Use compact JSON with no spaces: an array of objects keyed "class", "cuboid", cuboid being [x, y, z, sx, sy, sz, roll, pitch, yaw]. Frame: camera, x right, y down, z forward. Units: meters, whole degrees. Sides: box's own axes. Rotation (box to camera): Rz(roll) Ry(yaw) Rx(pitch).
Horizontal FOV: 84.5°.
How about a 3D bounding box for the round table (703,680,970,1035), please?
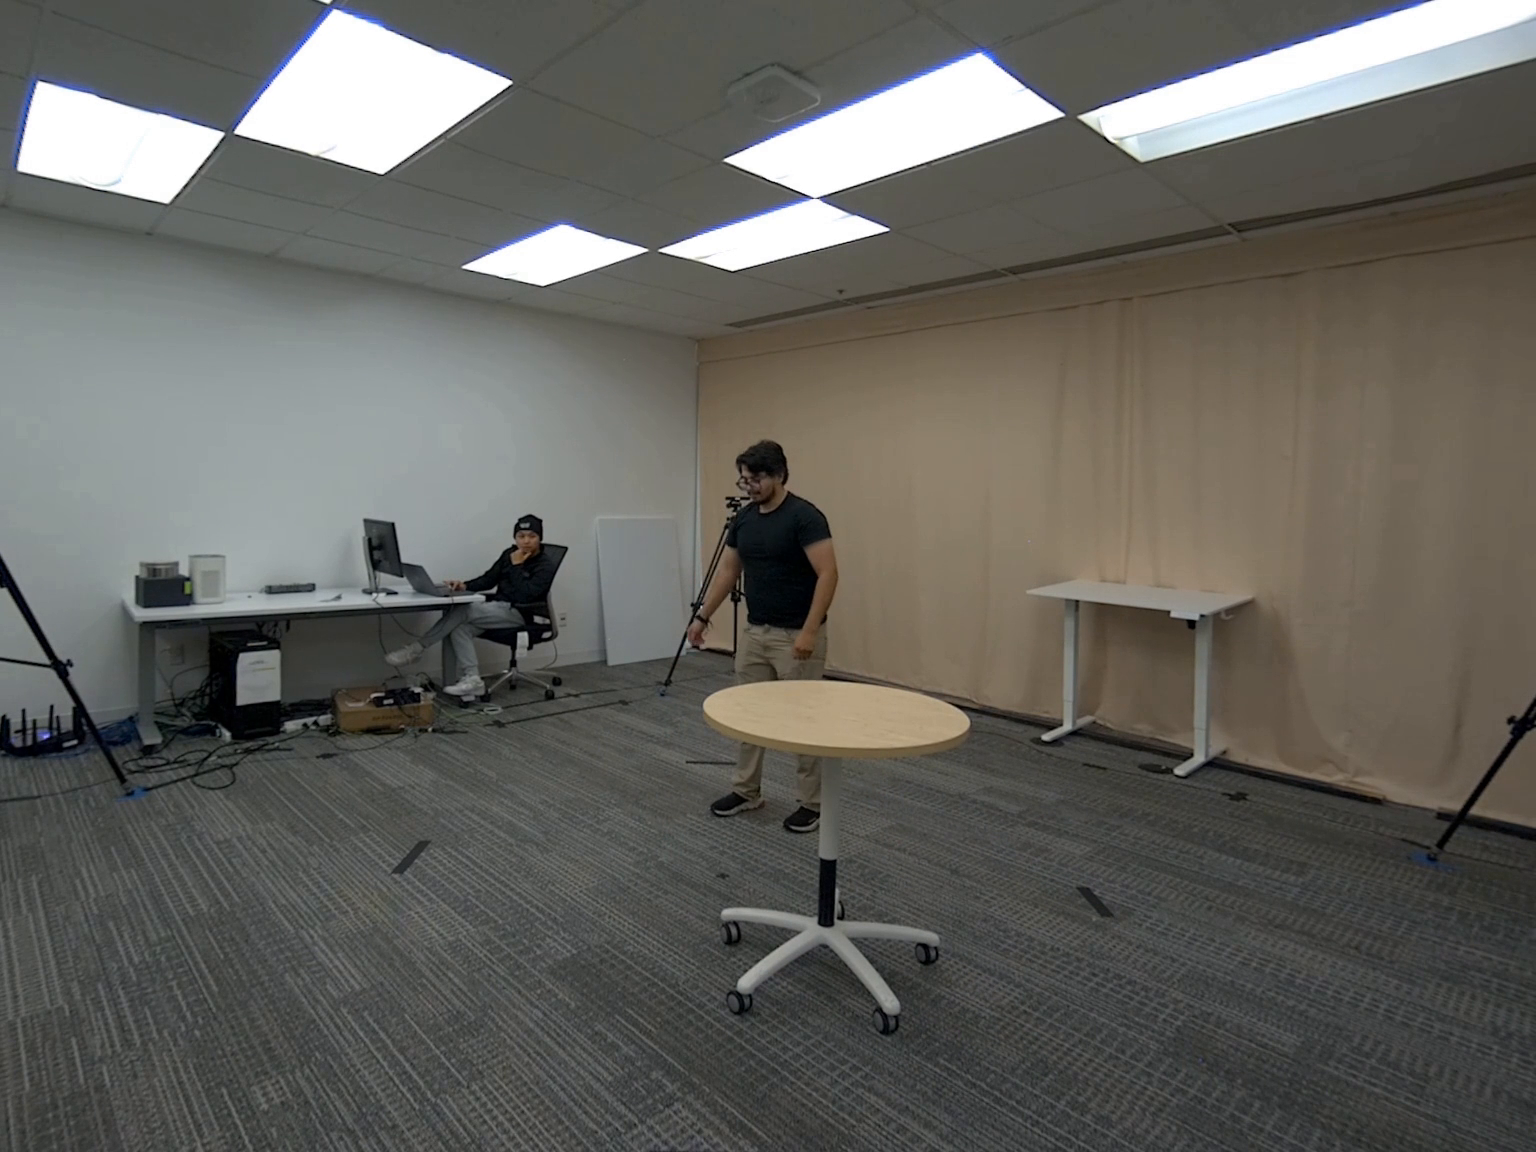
[{"class":"round table","cuboid":[0.154,0.782,2.468,0.784,0.784,0.788,2,4,-2]}]
